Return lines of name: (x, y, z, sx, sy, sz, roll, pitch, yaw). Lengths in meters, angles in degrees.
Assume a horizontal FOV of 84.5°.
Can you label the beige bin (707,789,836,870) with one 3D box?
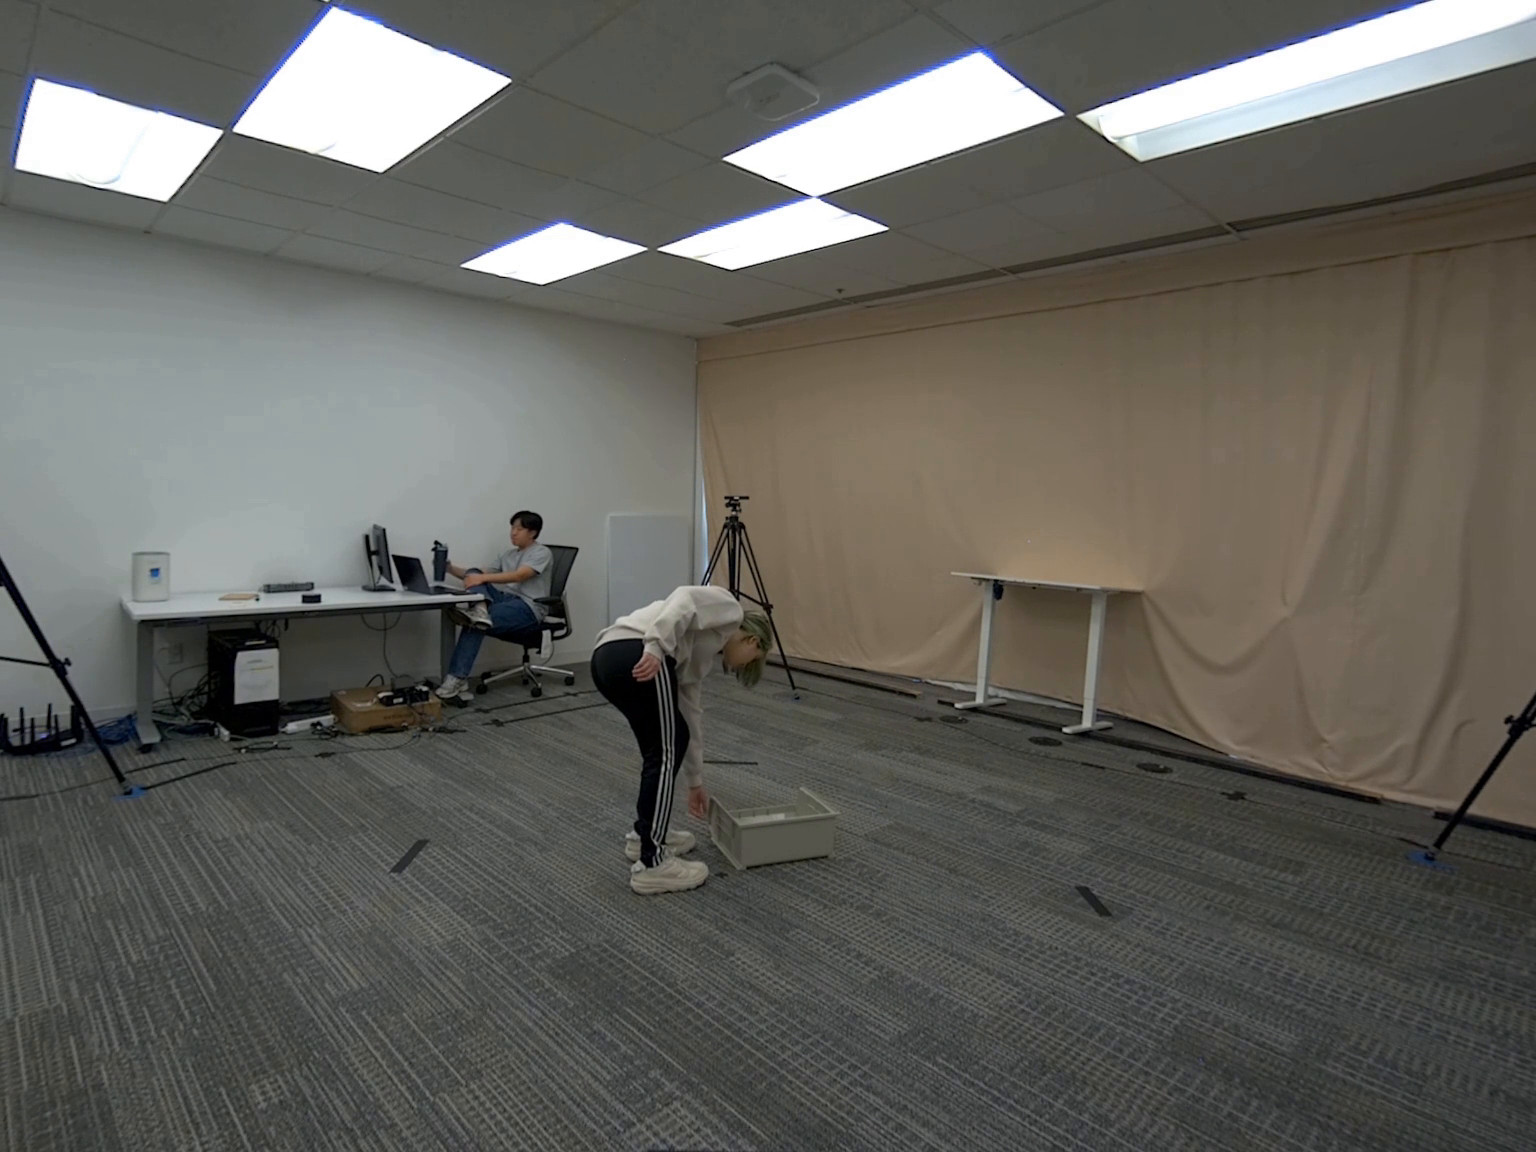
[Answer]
beige bin: (0.002, 0.994, 3.375, 0.415, 0.188, 0.385, 1, 5, -22)
